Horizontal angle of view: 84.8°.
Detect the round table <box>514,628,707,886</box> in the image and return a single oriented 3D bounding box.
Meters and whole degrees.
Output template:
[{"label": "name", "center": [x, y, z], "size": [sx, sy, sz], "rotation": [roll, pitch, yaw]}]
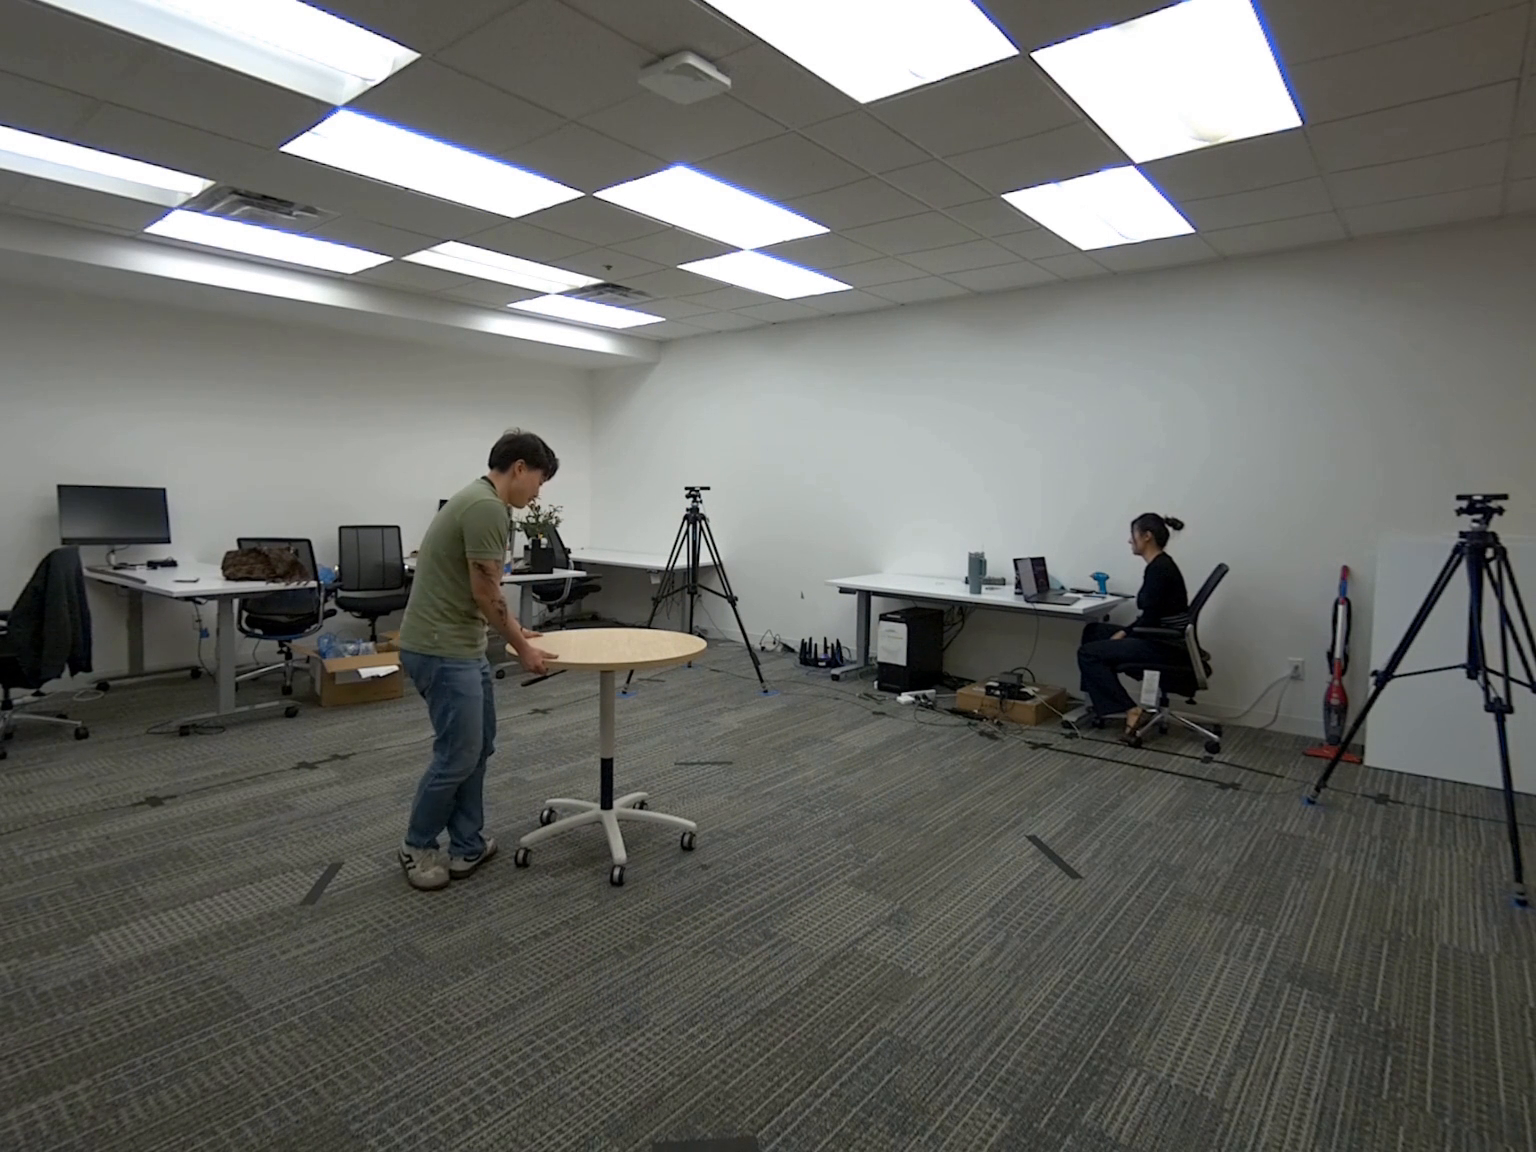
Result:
[{"label": "round table", "center": [-0.631, 0.656, 3.284], "size": [0.763, 0.792, 0.767], "rotation": [1, 4, -2]}]
